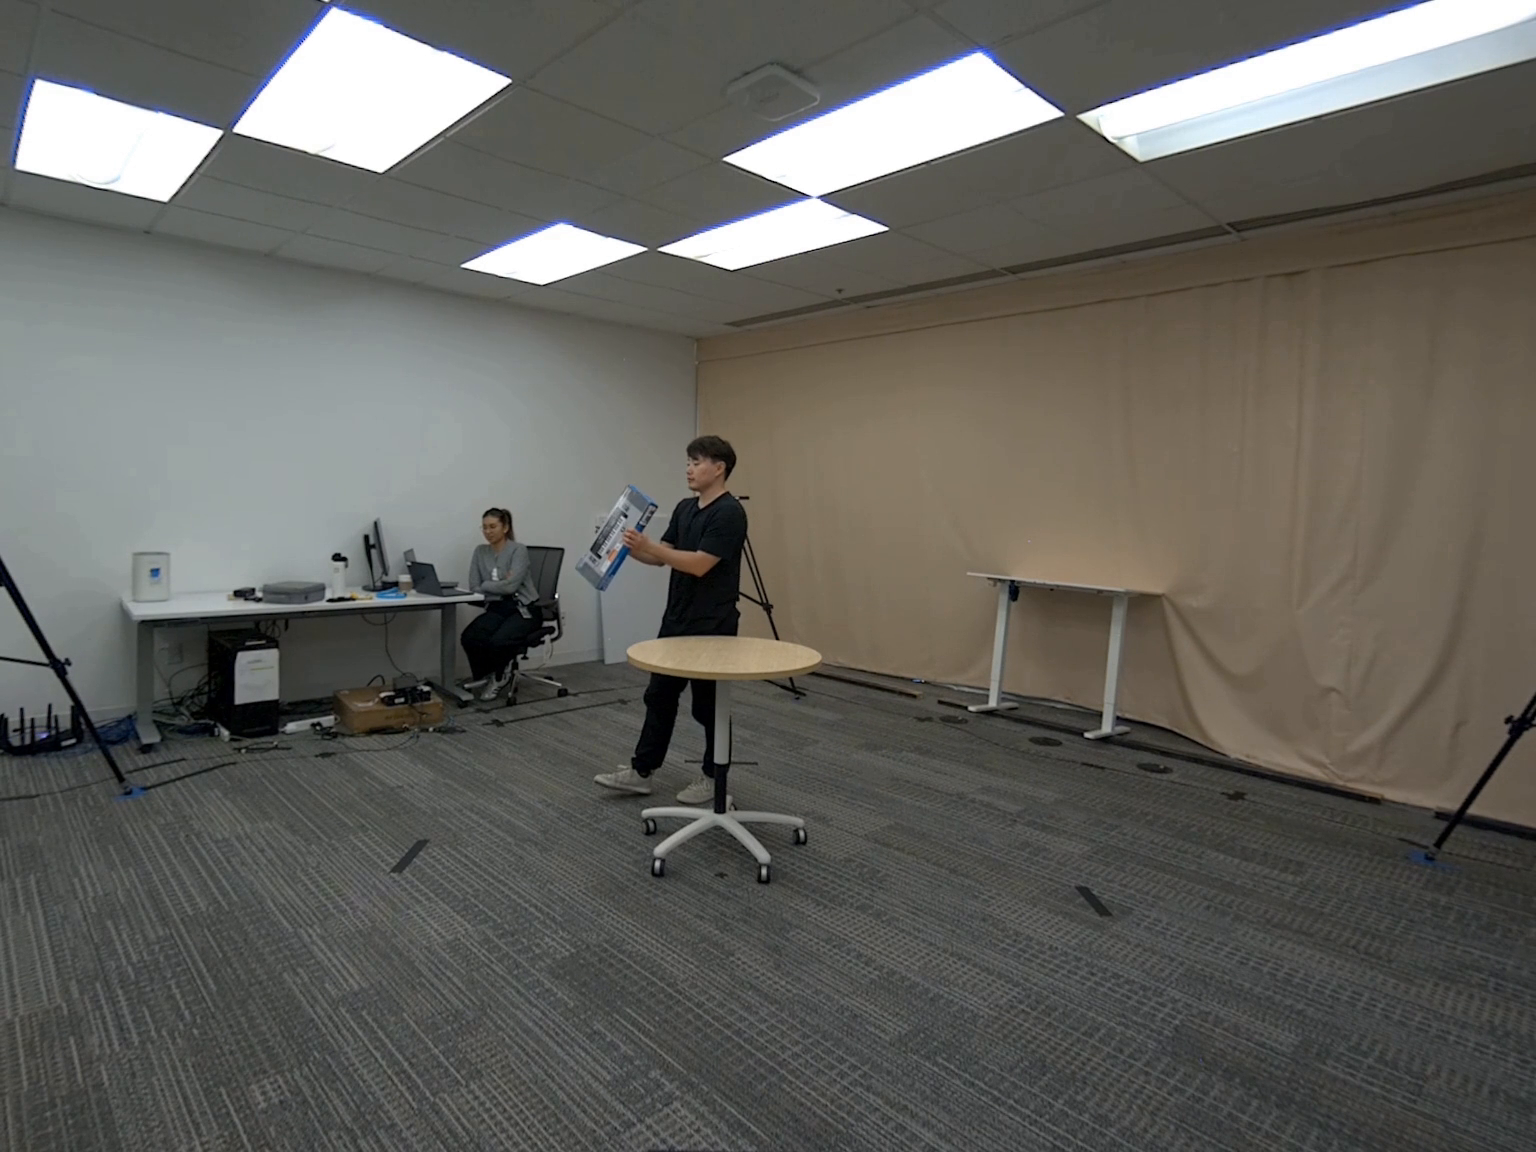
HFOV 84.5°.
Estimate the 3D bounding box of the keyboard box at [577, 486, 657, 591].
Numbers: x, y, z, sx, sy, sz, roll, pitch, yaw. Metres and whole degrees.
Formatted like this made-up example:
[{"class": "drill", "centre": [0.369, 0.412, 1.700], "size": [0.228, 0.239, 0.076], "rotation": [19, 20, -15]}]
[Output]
[{"class": "keyboard box", "centre": [-0.663, -0.161, 3.607], "size": [0.181, 0.436, 0.057], "rotation": [38, 8, 36]}]
